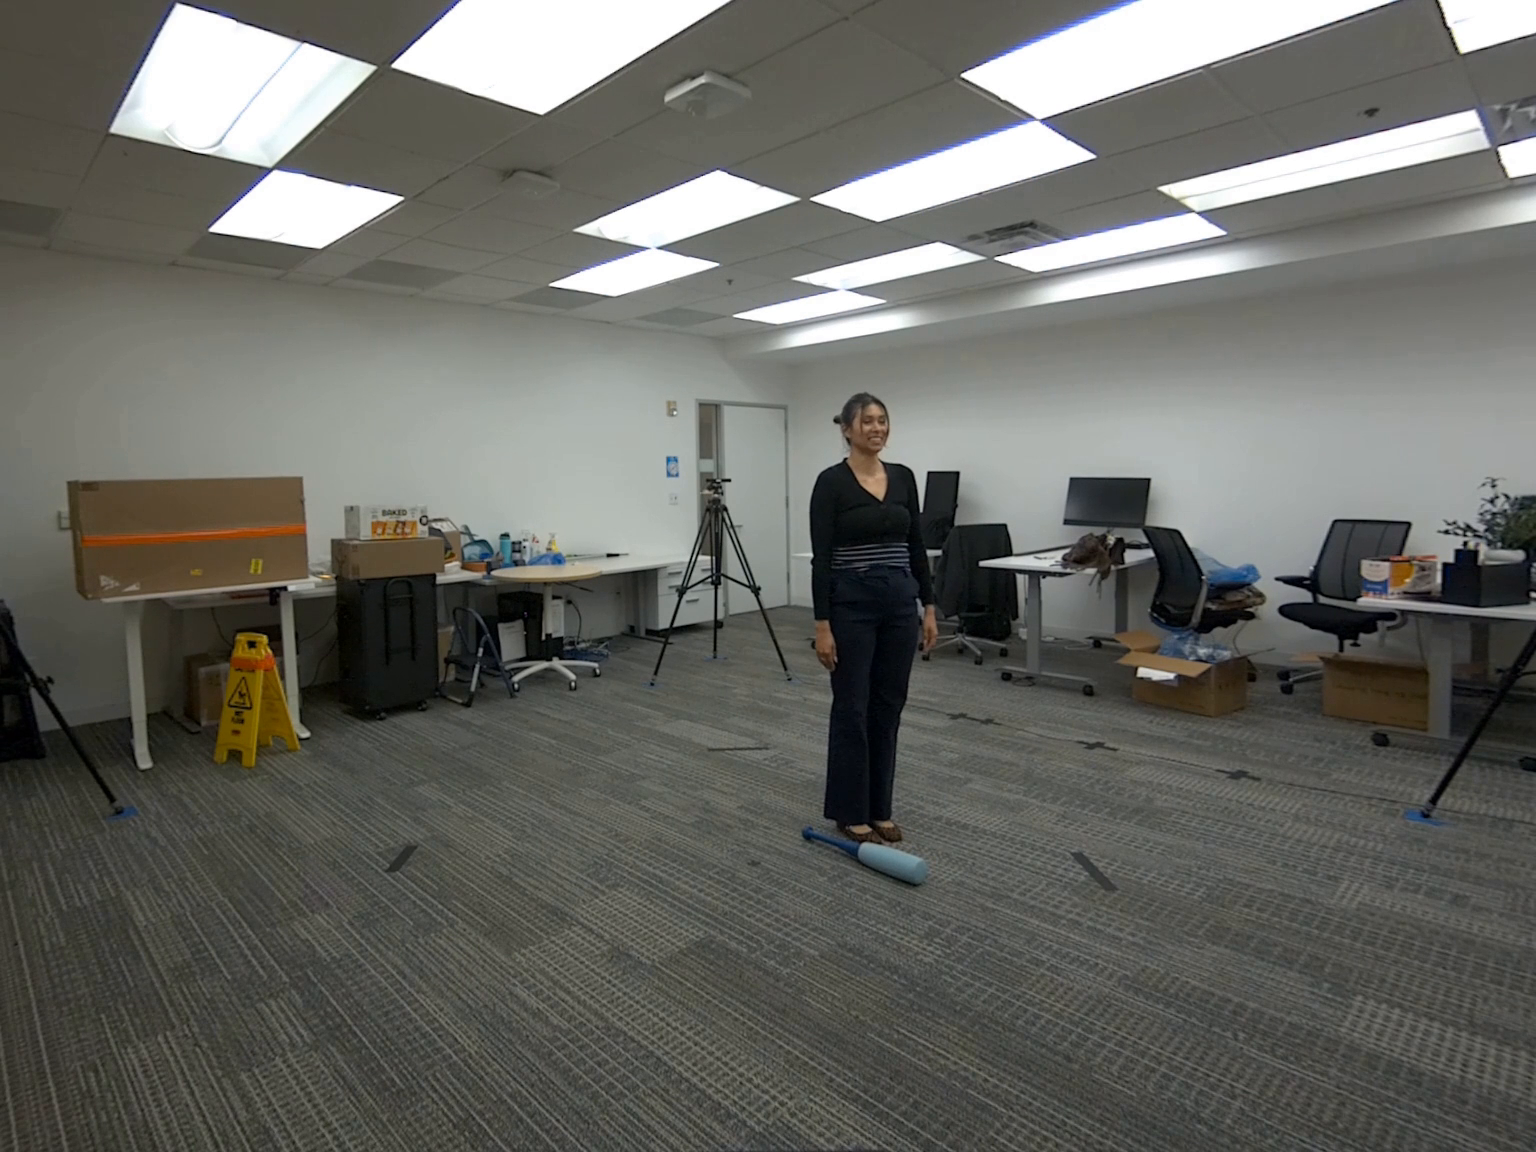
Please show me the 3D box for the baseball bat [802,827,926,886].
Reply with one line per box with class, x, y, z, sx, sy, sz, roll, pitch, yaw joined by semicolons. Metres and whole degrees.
baseball bat;0.337;1.007;3.107;0.087;0.089;0.558;-5;4;-42
